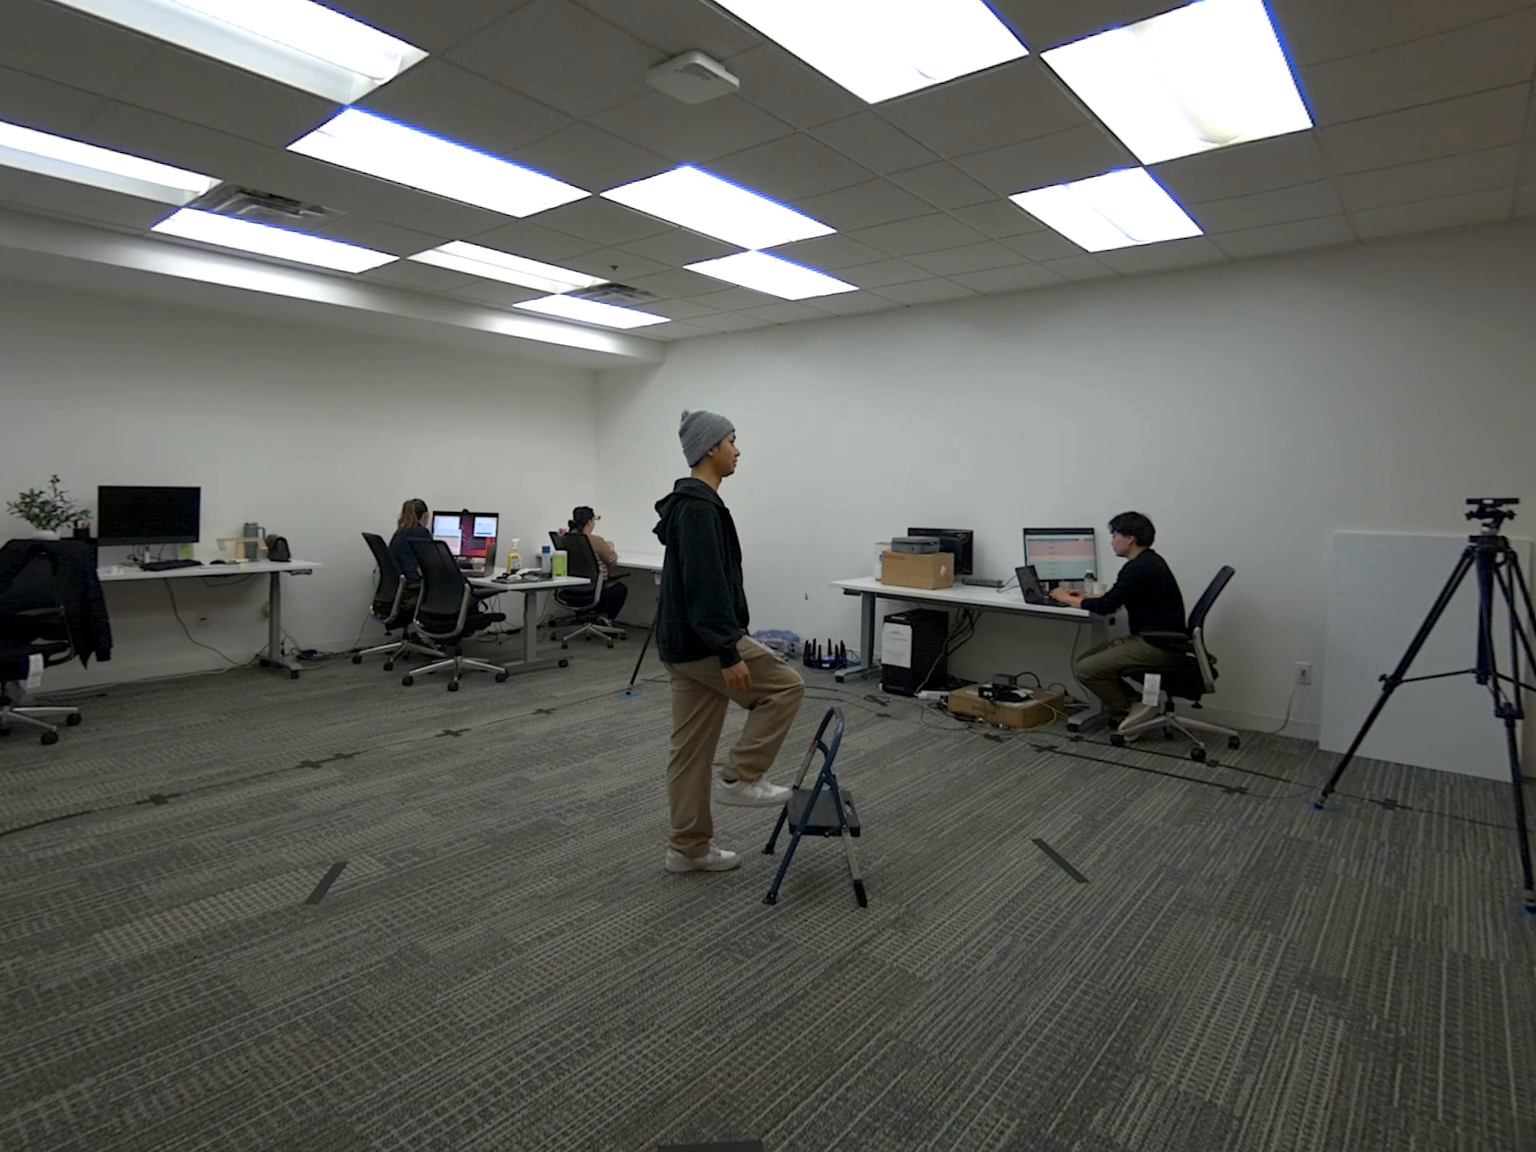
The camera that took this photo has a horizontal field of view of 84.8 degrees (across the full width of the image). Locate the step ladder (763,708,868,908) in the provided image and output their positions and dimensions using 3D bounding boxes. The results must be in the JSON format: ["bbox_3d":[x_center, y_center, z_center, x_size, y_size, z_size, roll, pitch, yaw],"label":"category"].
[{"bbox_3d":[0.161,0.782,3.034,0.349,0.604,0.432,2,3,0],"label":"step ladder"}]
